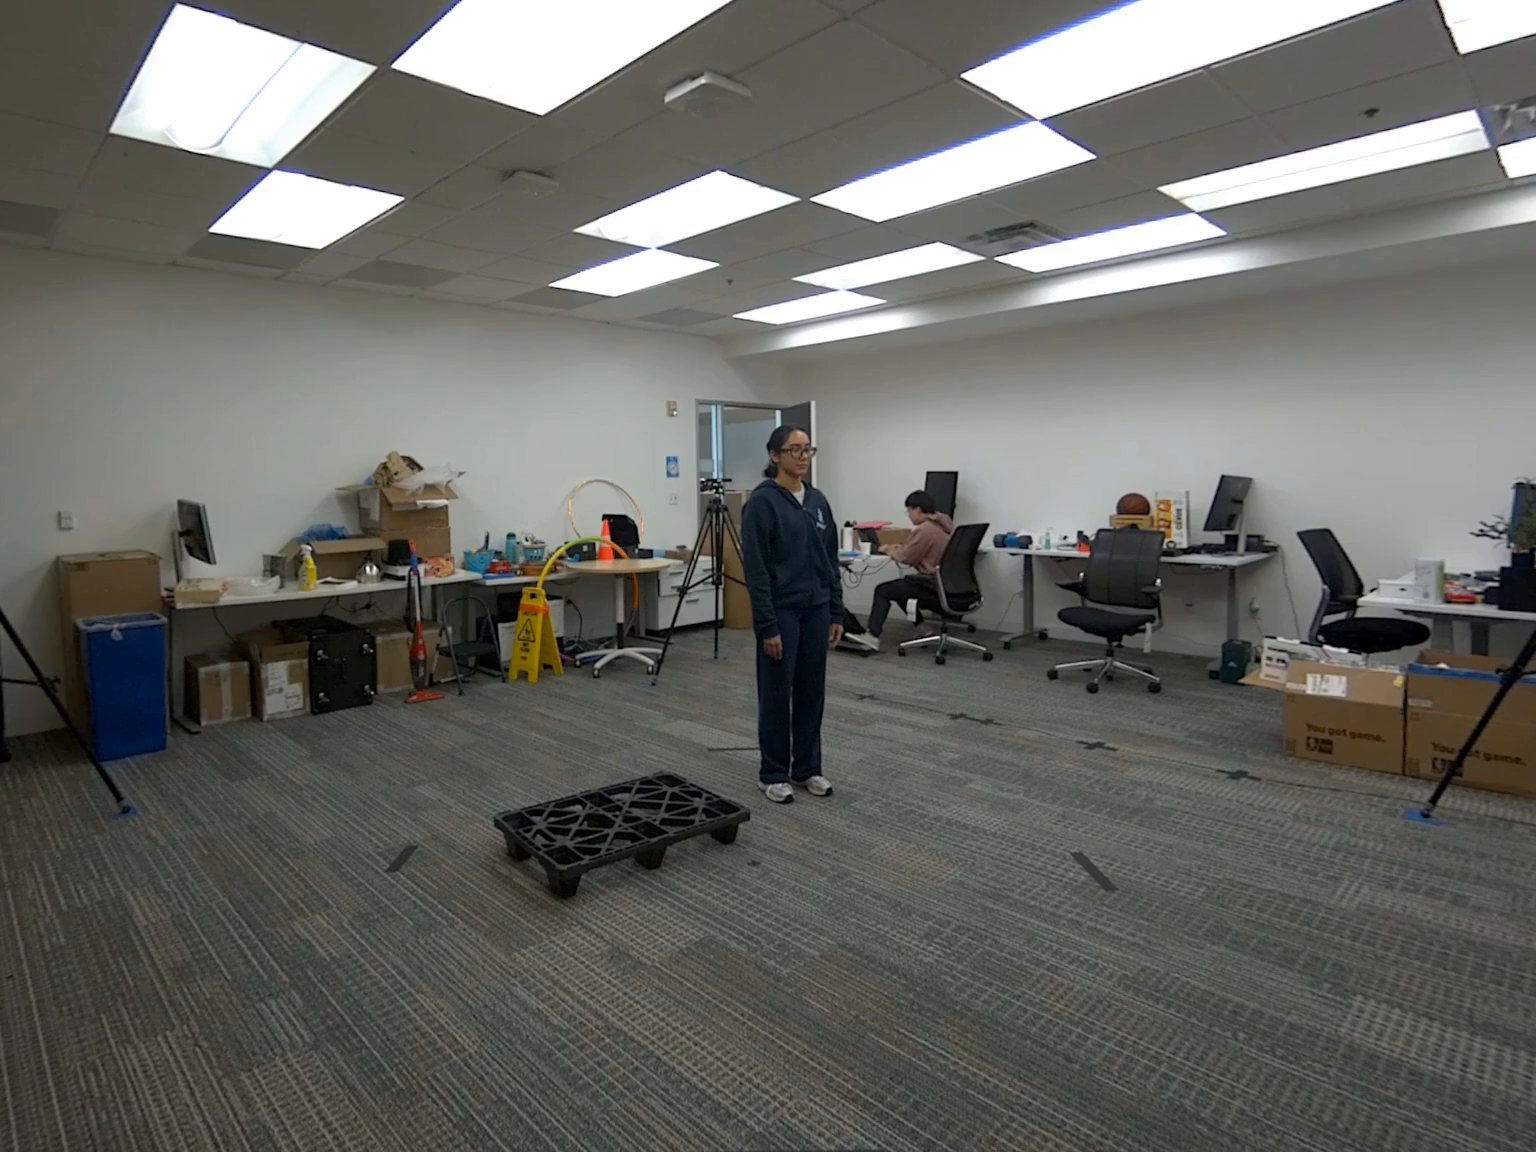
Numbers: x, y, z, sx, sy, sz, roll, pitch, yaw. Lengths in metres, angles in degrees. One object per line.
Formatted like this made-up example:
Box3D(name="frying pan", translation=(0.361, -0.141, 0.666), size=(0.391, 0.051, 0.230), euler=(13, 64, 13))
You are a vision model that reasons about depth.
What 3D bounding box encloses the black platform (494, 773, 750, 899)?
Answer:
Box3D(name="black platform", translation=(-0.547, 0.969, 3.259), size=(0.785, 0.142, 0.624), euler=(-6, 8, -37))
